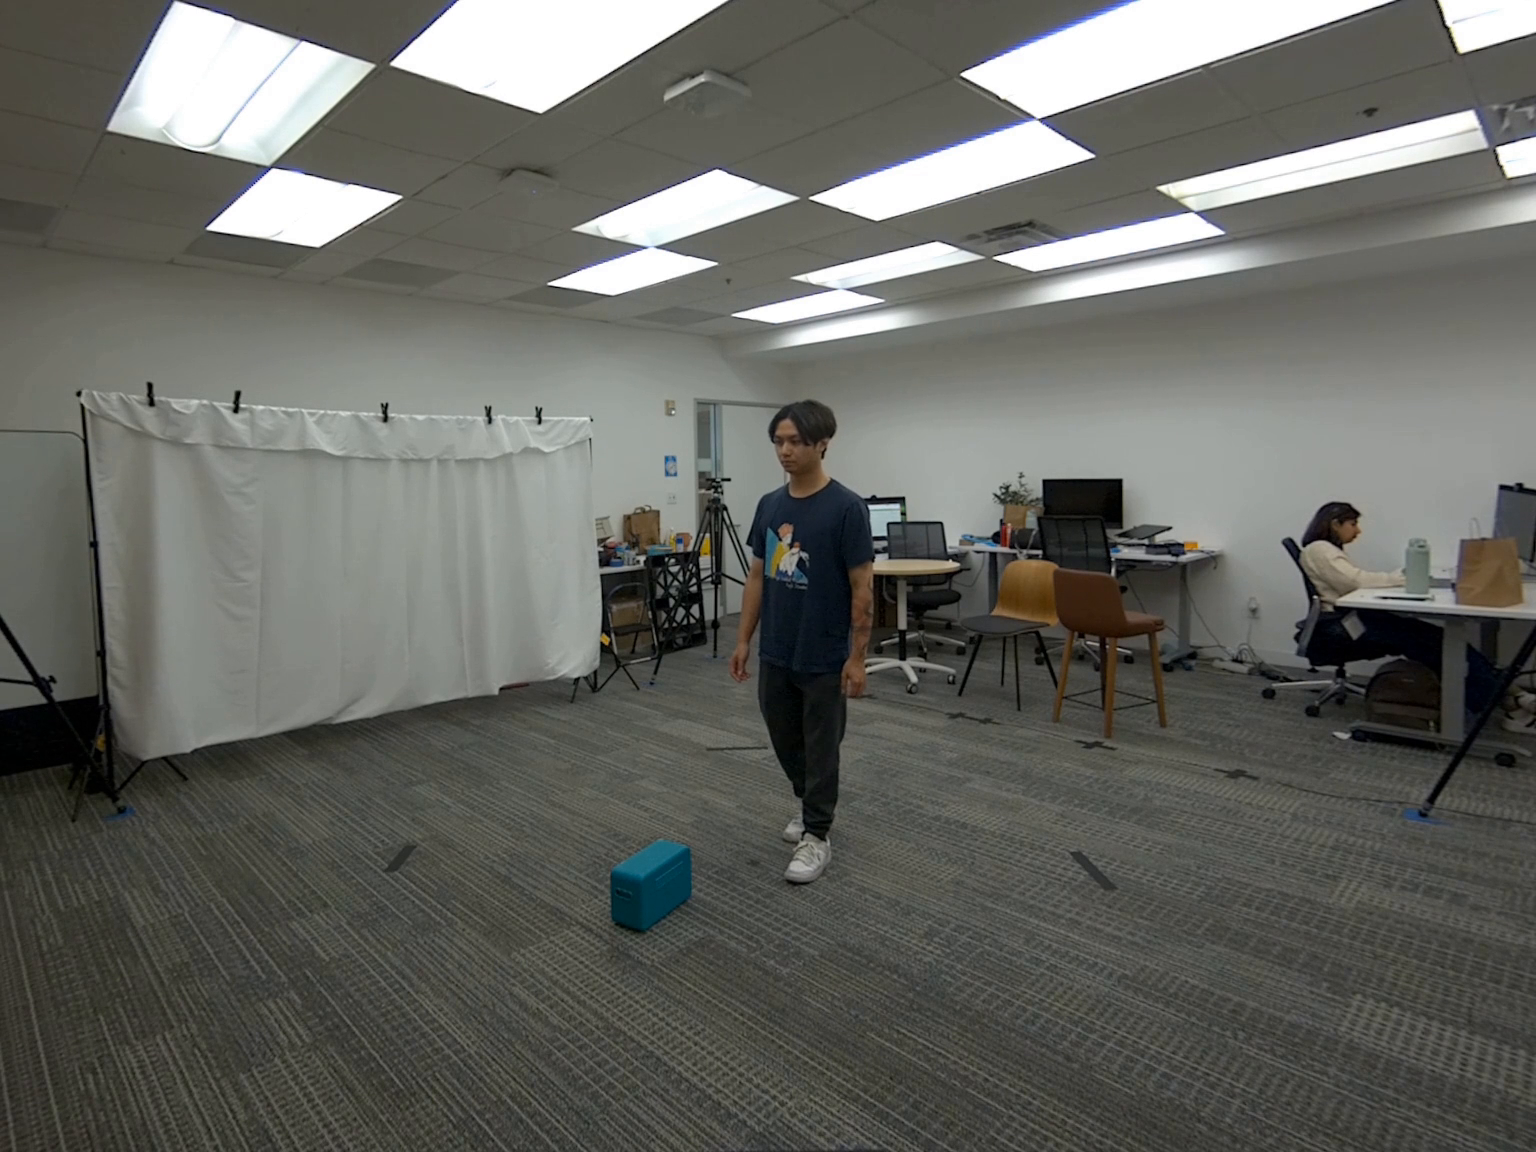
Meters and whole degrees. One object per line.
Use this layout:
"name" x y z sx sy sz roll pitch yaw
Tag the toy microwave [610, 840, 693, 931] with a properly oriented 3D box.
"toy microwave" -0.378 0.994 2.774 0.156 0.183 0.280 2 7 30
